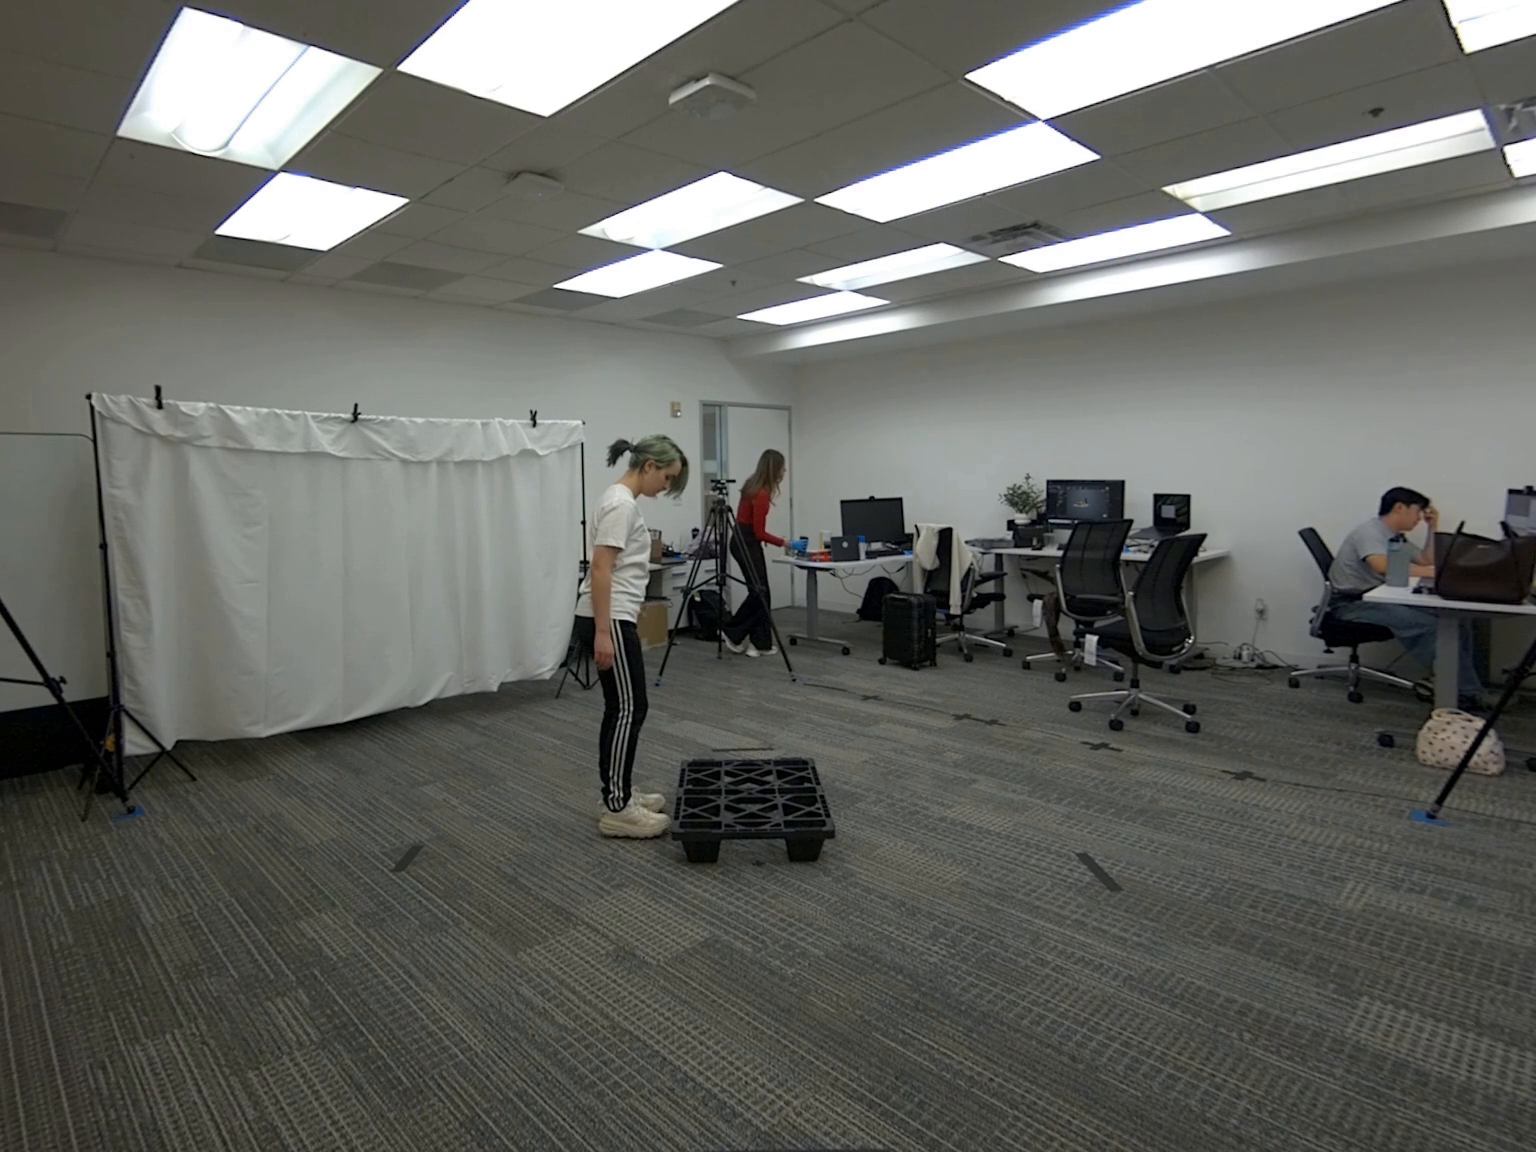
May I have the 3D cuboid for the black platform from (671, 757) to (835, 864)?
[{"bbox_3d":[-0.077,0.936,3.476,0.605,0.143,0.809,-2,6,-1],"label":"black platform"}]
